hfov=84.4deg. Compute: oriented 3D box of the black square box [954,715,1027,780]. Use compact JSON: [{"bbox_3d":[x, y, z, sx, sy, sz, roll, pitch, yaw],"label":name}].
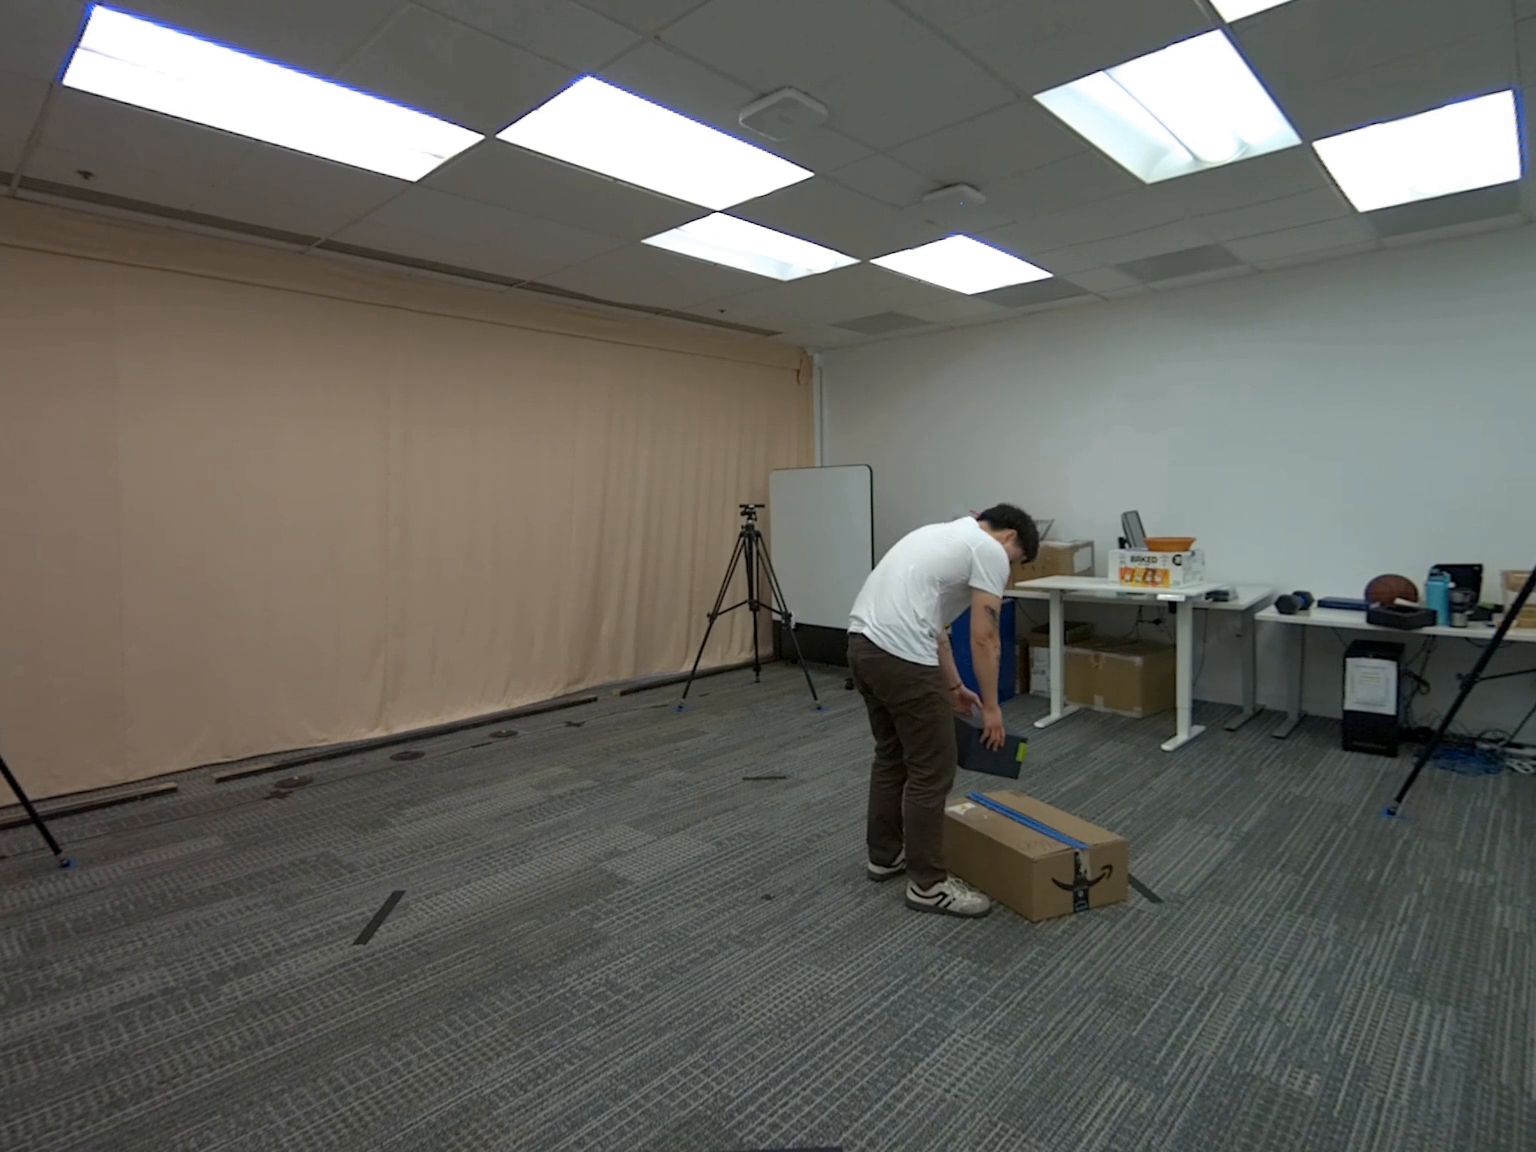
[{"bbox_3d":[0.780,0.611,3.065,0.214,0.156,0.231,14,2,-11],"label":"black square box"}]
